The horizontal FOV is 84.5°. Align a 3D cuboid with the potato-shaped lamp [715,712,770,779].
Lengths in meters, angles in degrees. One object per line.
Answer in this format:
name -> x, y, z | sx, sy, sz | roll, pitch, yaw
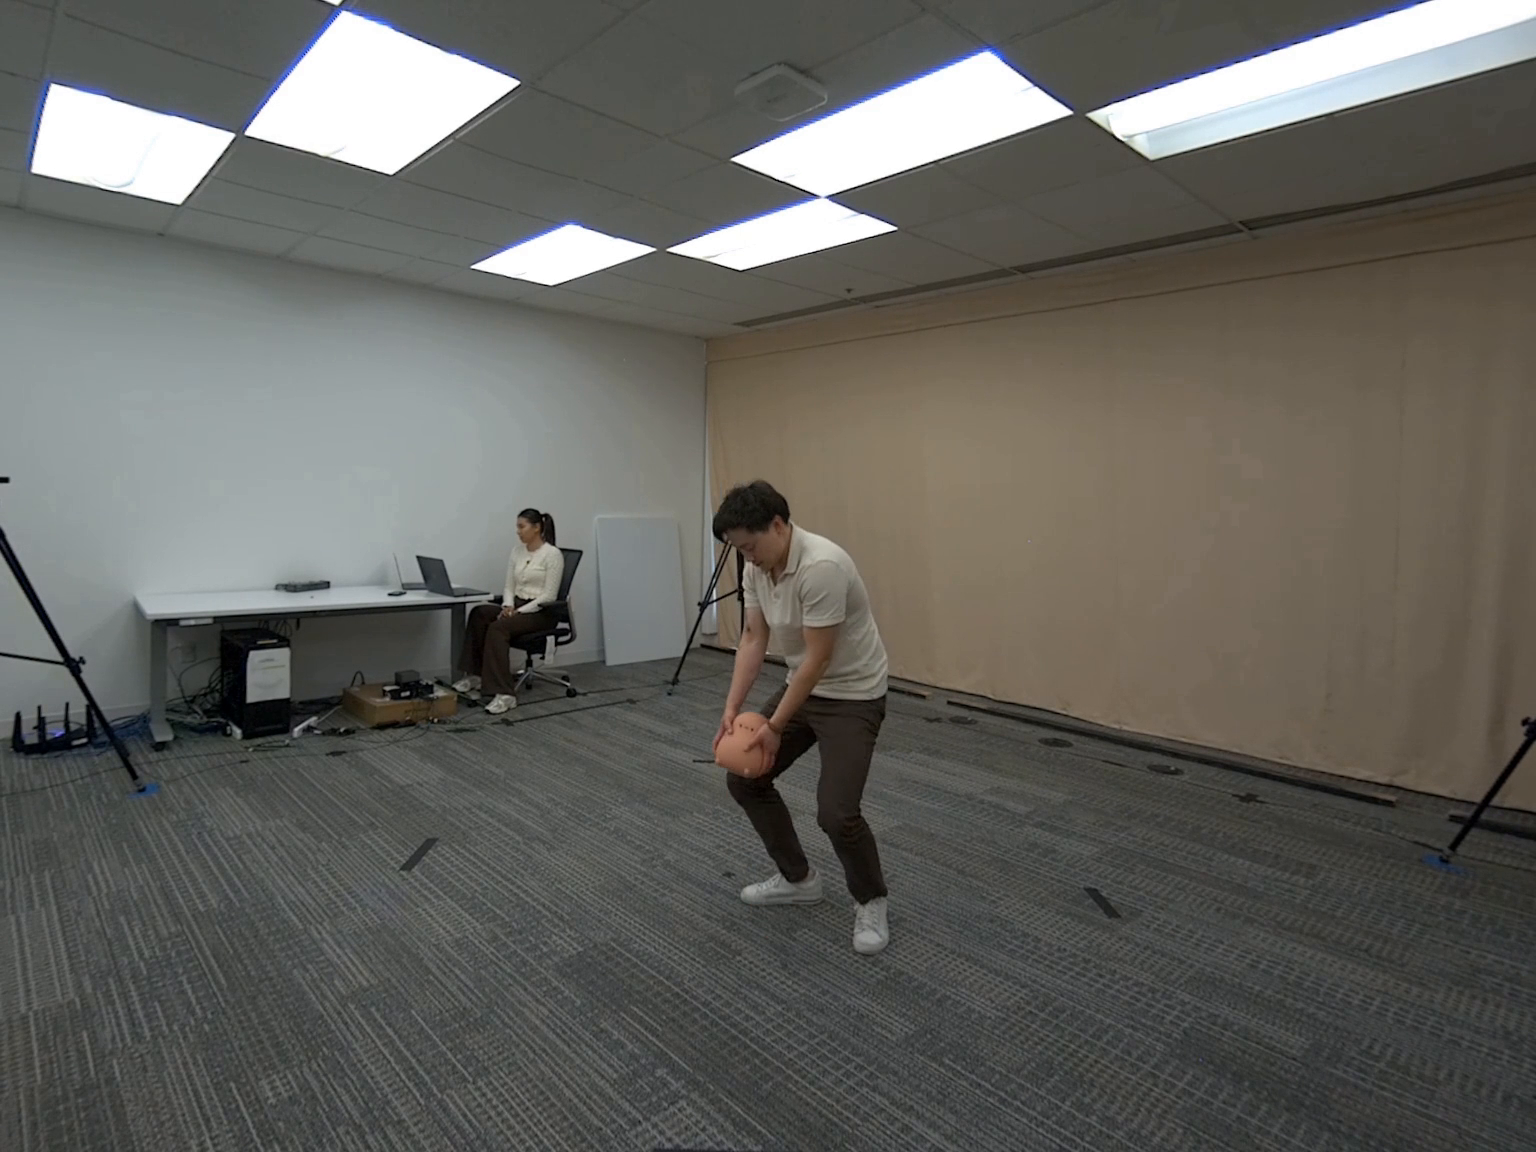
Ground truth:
potato-shaped lamp -> -0.069, 0.525, 2.651 | 0.167, 0.199, 0.168 | 14, -14, 16
